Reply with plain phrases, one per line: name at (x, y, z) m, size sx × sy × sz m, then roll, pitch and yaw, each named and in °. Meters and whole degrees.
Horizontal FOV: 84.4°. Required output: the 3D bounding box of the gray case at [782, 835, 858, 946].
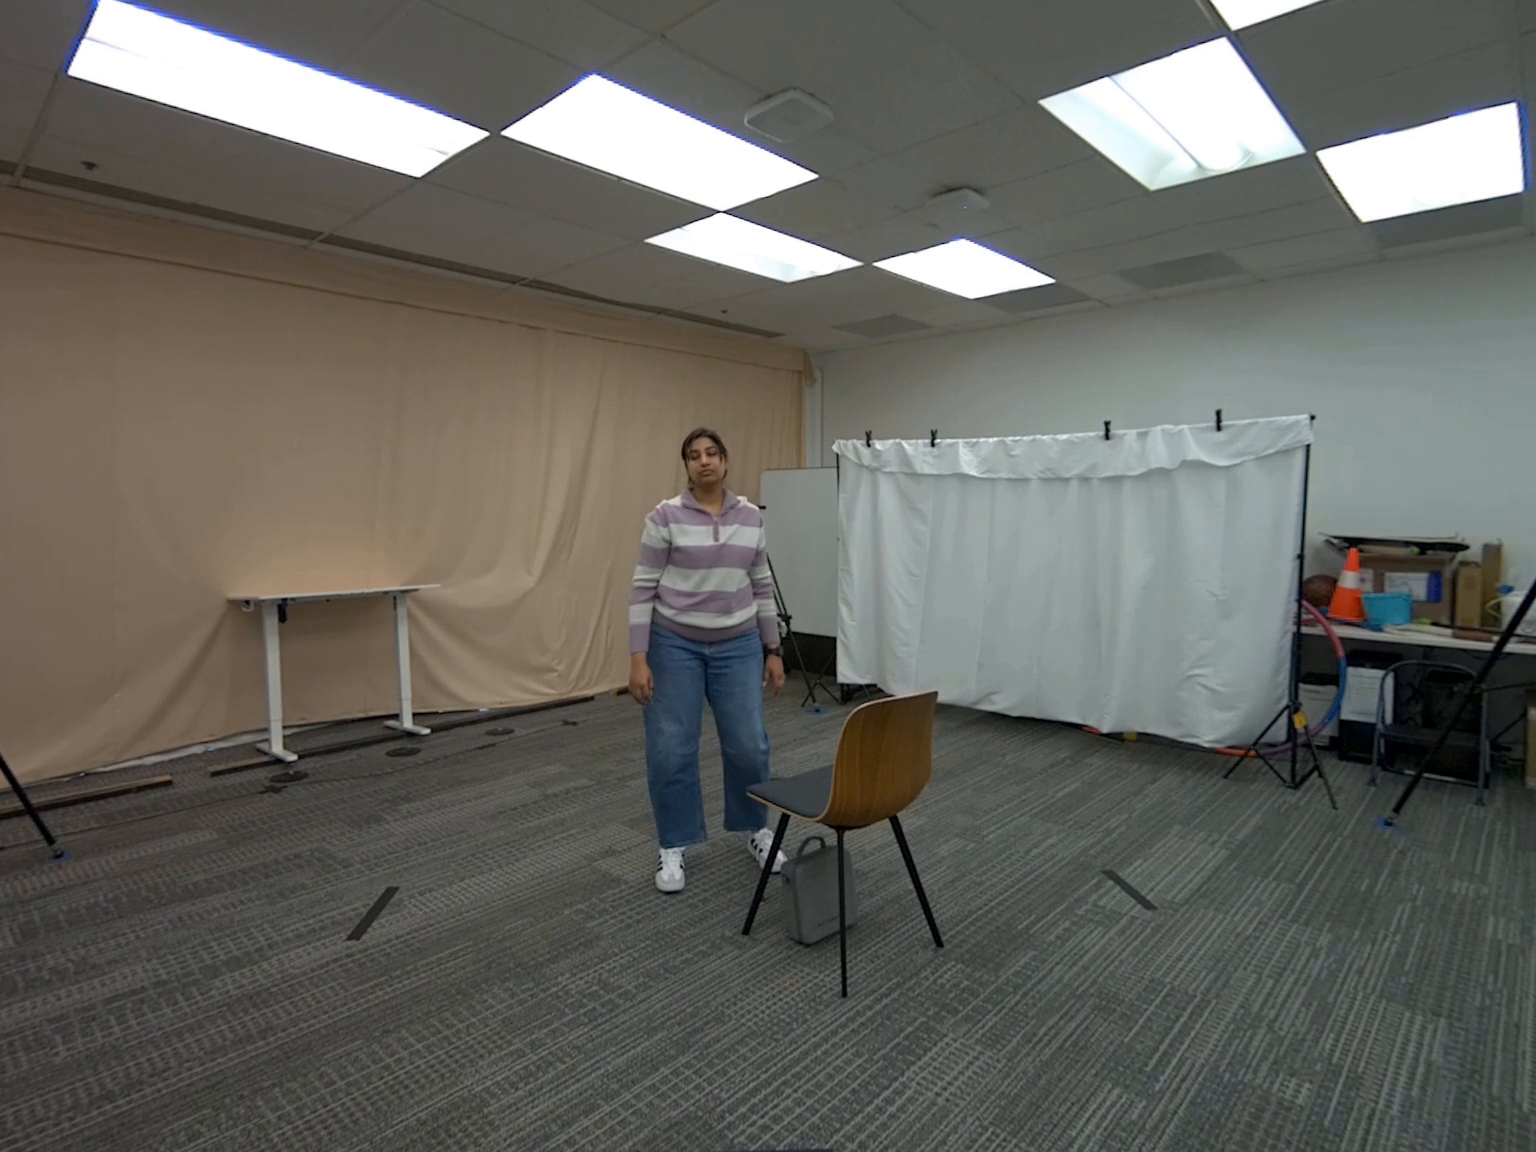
gray case at (0.169, 1.038, 2.744) m, size 0.249 × 0.262 × 0.107 m, roll -2°, pitch -7°, yaw -41°
